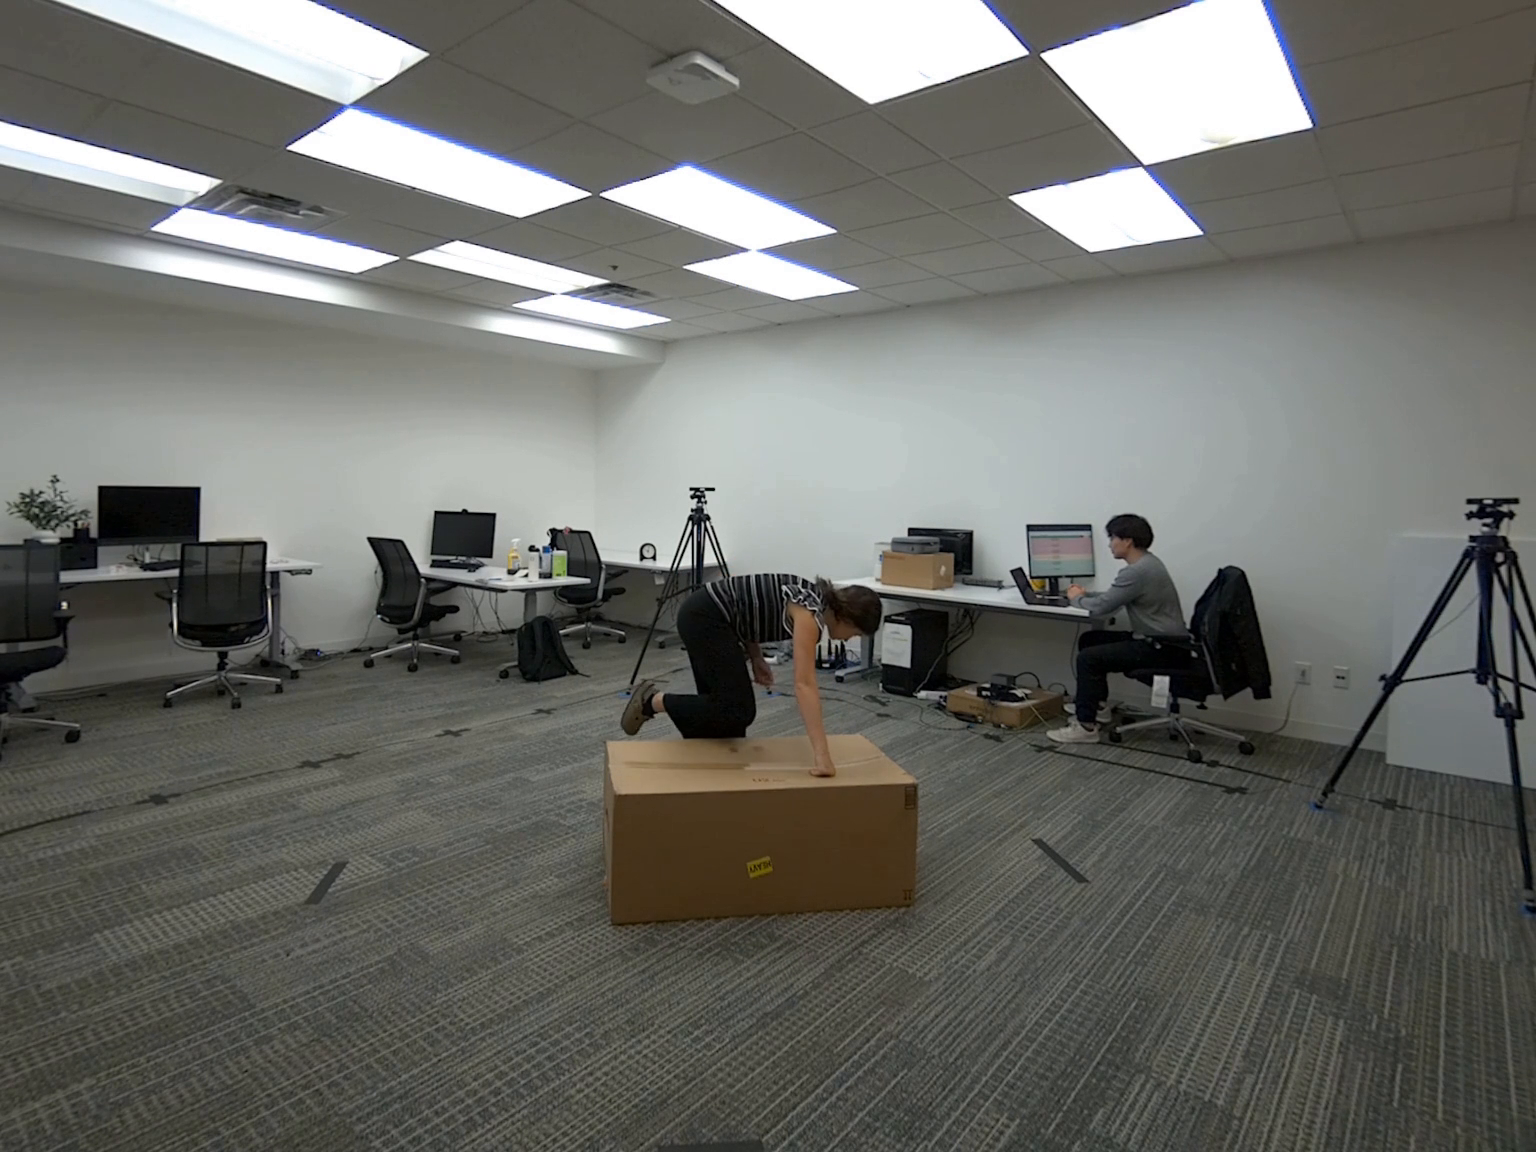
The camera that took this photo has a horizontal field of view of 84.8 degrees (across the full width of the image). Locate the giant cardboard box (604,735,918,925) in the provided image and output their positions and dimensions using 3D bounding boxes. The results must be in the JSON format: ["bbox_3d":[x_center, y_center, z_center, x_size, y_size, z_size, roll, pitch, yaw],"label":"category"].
[{"bbox_3d":[-0.068,0.870,3.042,1.014,0.425,0.586,0,4,-11],"label":"giant cardboard box"}]
